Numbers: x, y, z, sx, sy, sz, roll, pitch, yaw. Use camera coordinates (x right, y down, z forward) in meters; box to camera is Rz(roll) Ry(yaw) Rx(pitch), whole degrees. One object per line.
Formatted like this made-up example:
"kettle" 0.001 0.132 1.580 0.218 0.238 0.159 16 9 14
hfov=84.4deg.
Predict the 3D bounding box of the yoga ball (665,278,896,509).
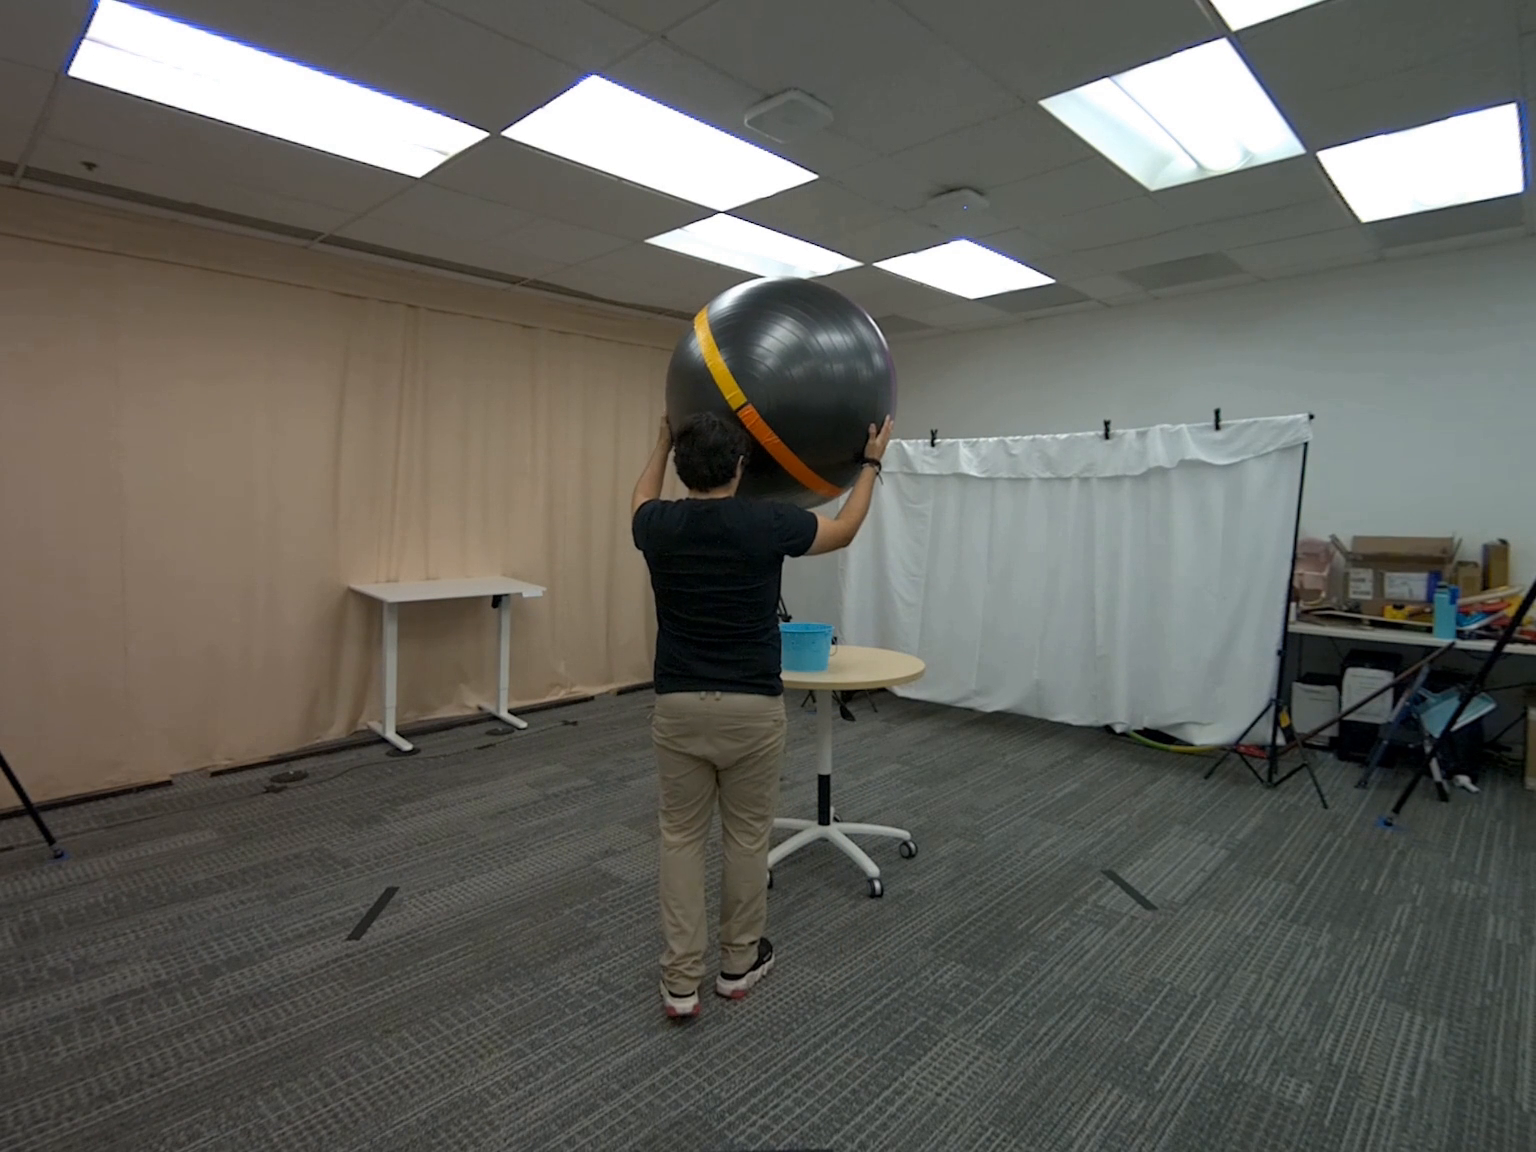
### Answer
"yoga ball" 0.044 -0.581 2.767 0.757 0.756 0.760 0 4 -2
